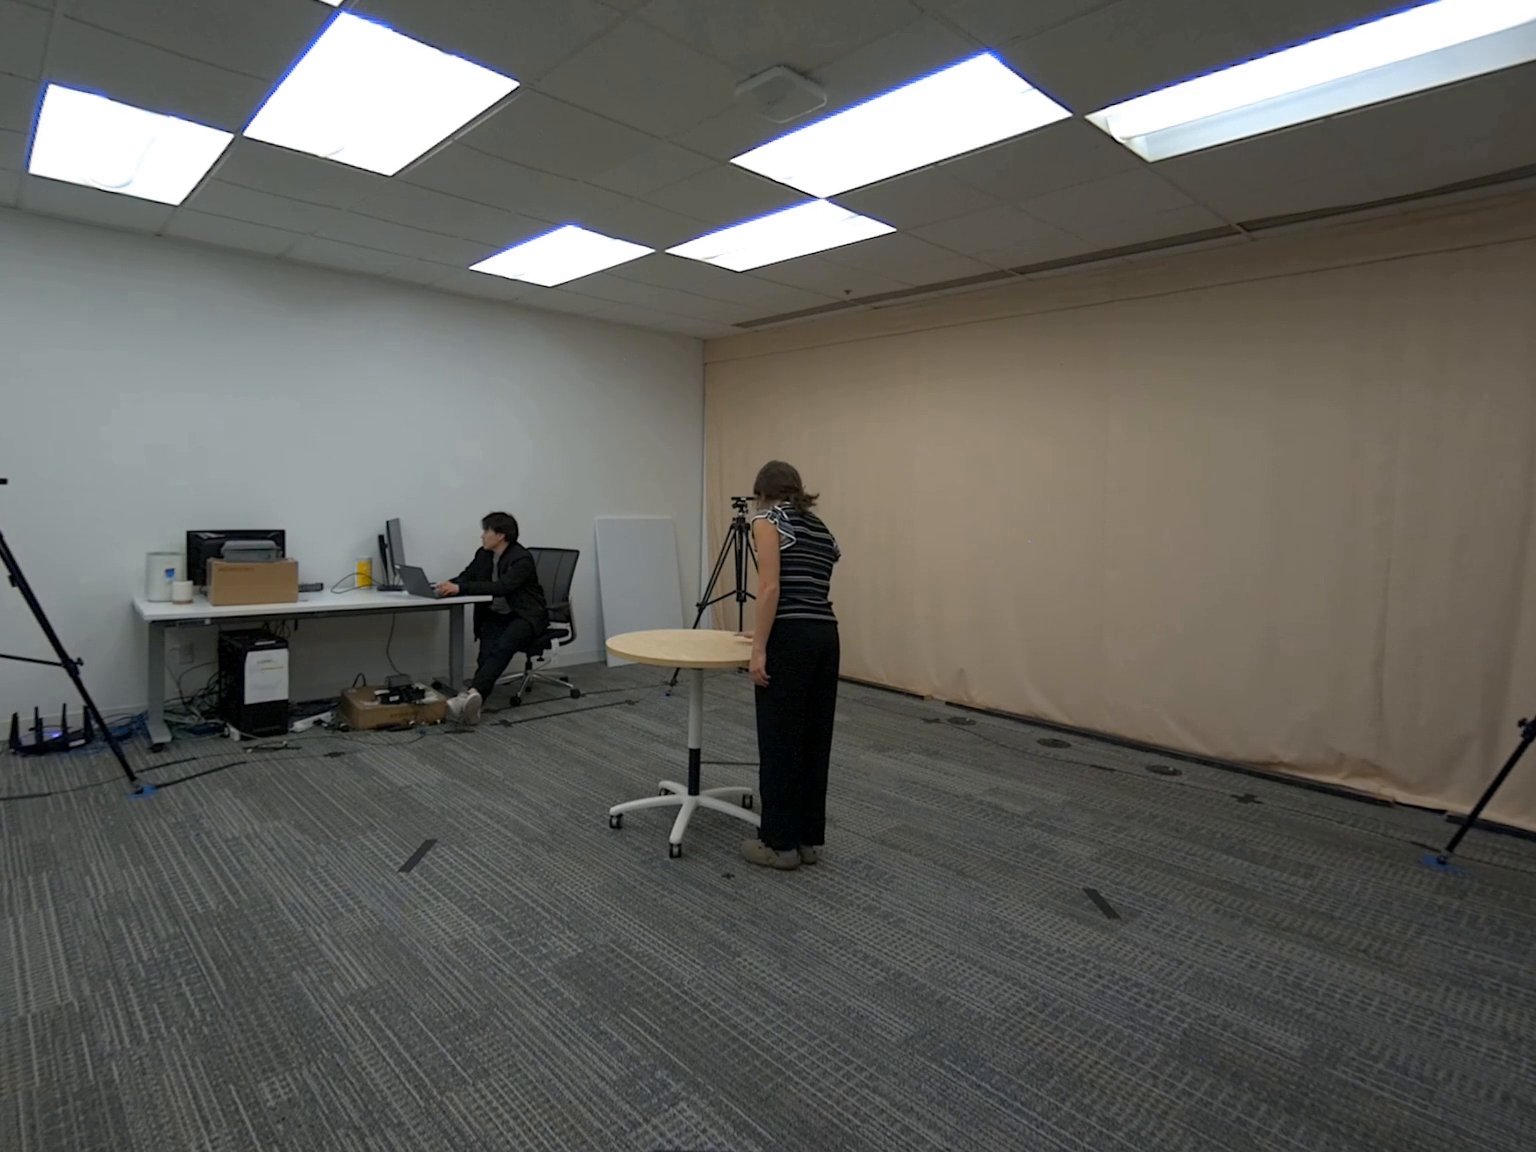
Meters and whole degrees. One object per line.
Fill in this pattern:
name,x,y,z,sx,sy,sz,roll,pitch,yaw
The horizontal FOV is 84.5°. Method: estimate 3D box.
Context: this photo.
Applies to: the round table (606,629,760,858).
round table,-0.321,0.677,3.551,0.763,0.792,0.766,2,4,-1
